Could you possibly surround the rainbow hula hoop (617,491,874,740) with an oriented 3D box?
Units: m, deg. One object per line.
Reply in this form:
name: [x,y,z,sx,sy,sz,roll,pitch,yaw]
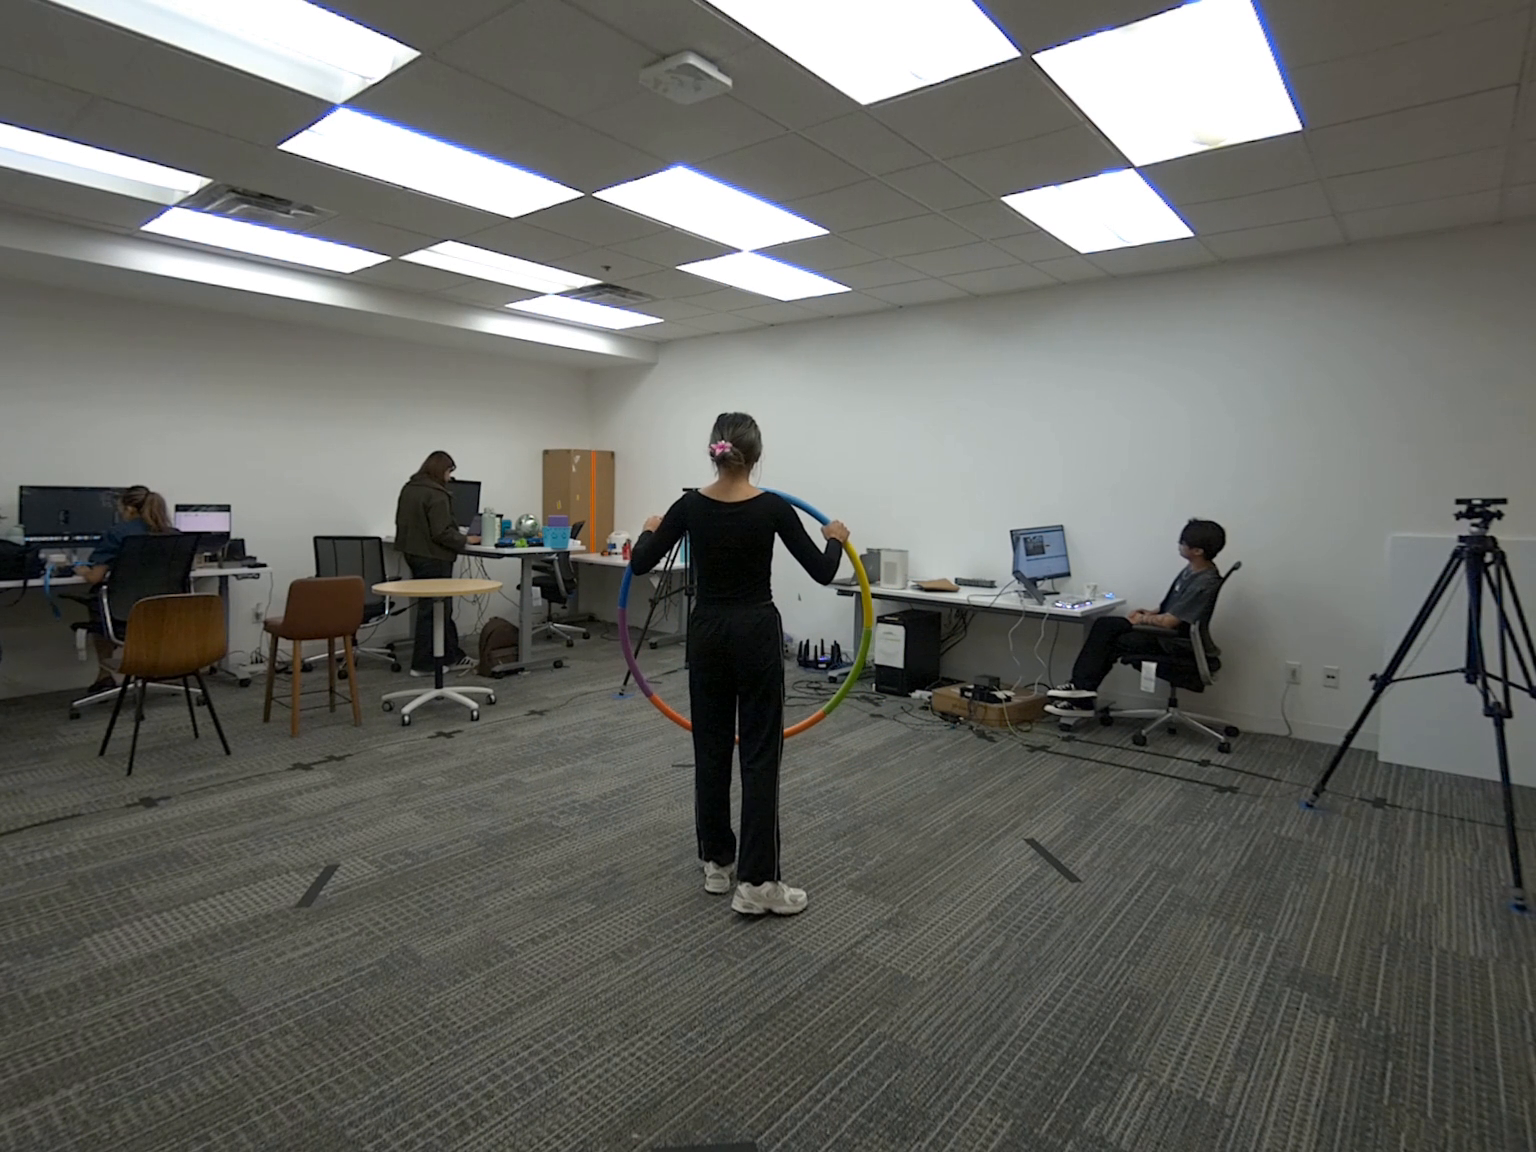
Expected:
rainbow hula hoop: [-0.108,0.155,3.237,0.985,0.974,0.035,1,5,6]
